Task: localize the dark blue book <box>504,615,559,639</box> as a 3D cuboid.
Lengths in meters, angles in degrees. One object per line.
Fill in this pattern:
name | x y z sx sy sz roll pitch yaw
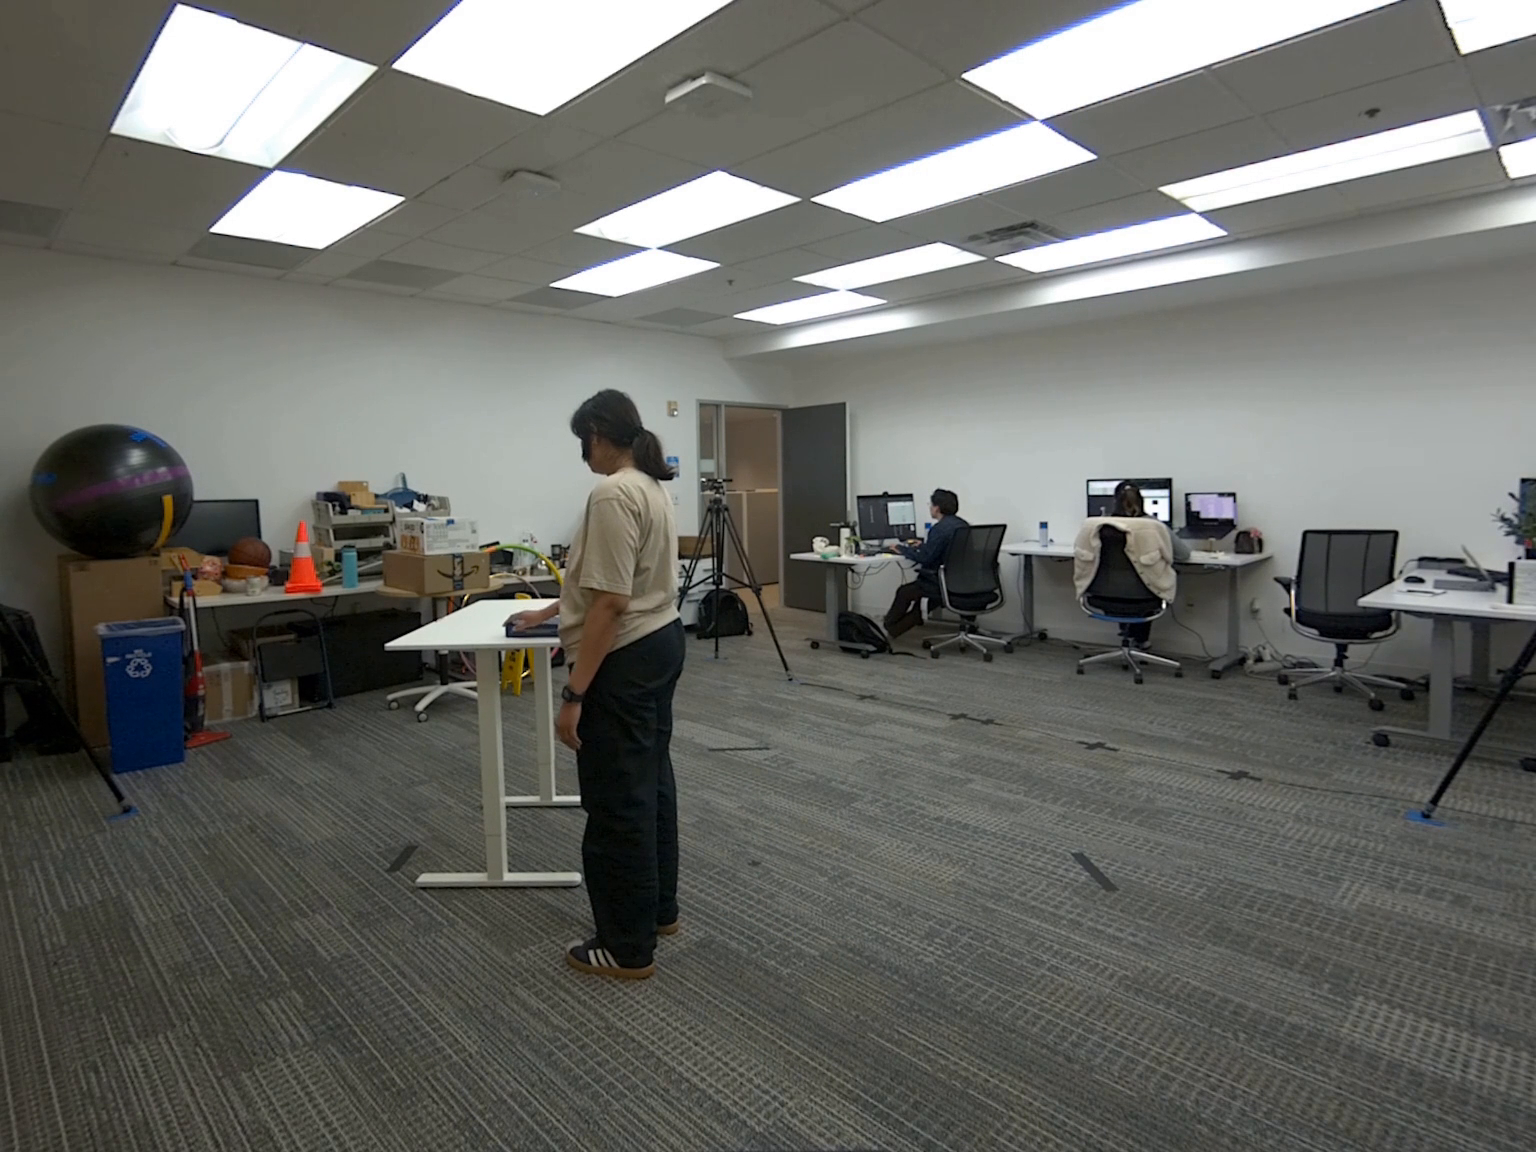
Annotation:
dark blue book | -0.777 0.175 2.939 0.247 0.045 0.163 0 7 8
